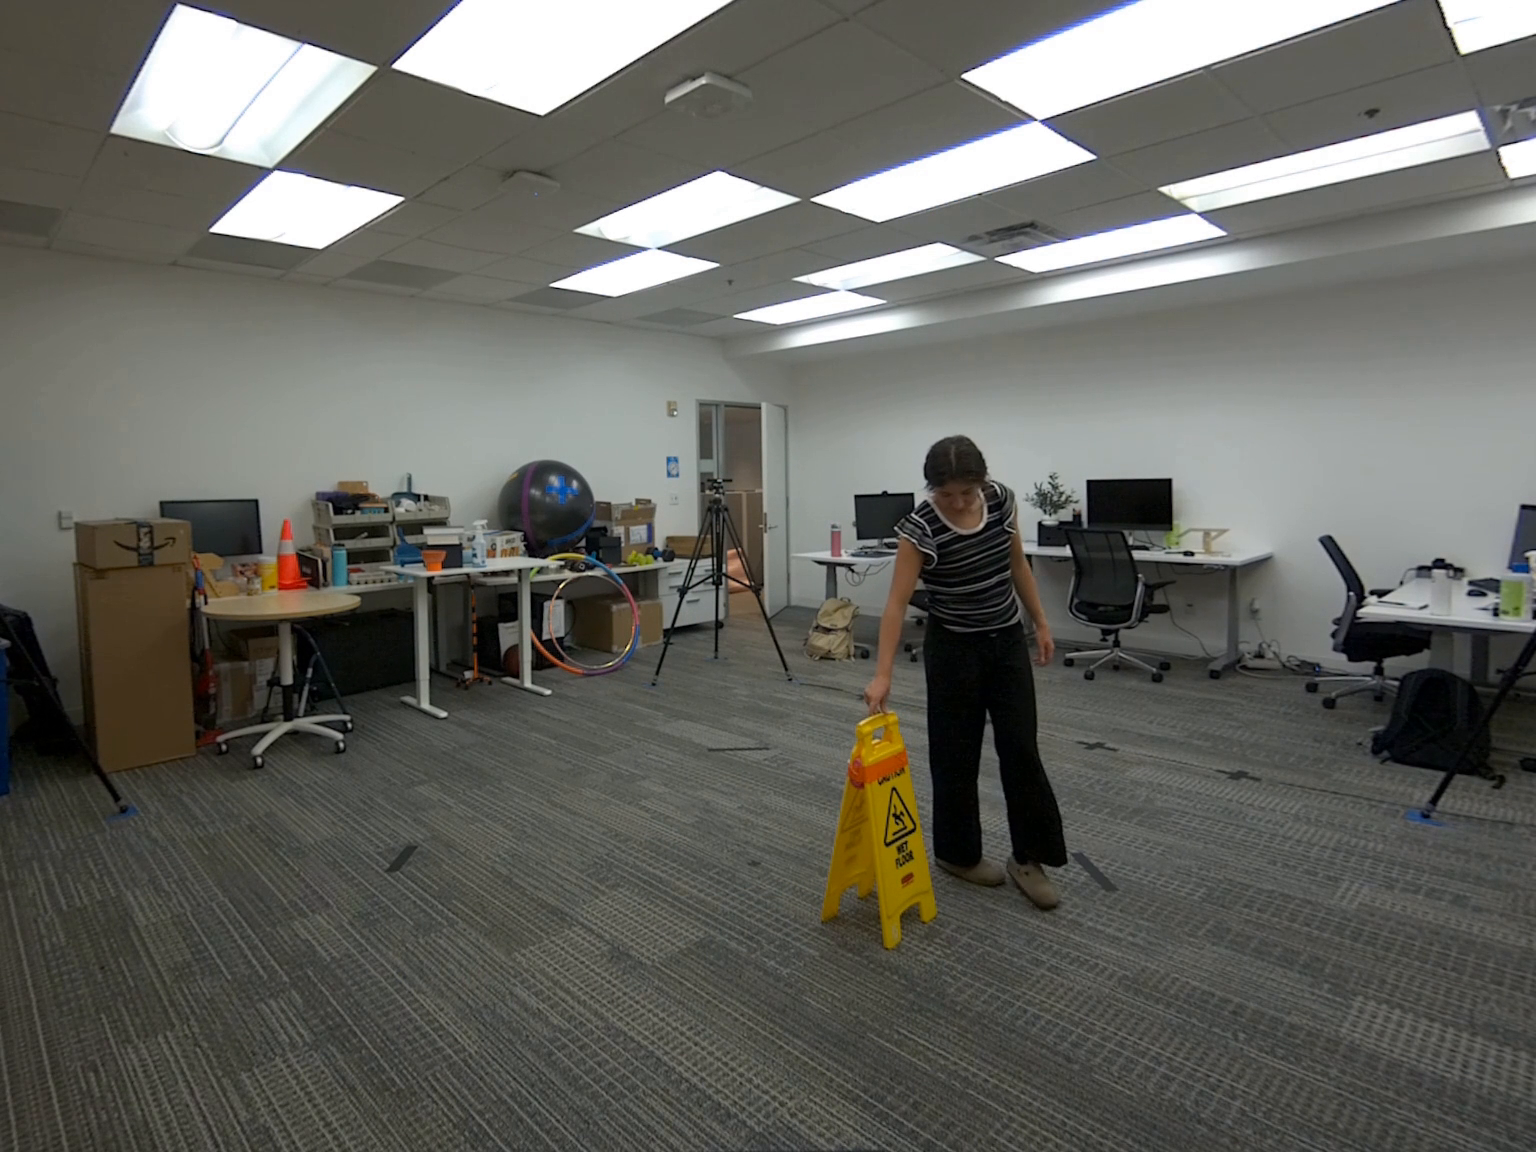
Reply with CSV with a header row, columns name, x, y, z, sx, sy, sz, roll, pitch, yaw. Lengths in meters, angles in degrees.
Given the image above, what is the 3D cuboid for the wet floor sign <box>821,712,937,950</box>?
name,x,y,z,sx,sy,sz,roll,pitch,yaw
wet floor sign,0.351,0.762,2.680,0.299,0.643,0.275,4,7,41
